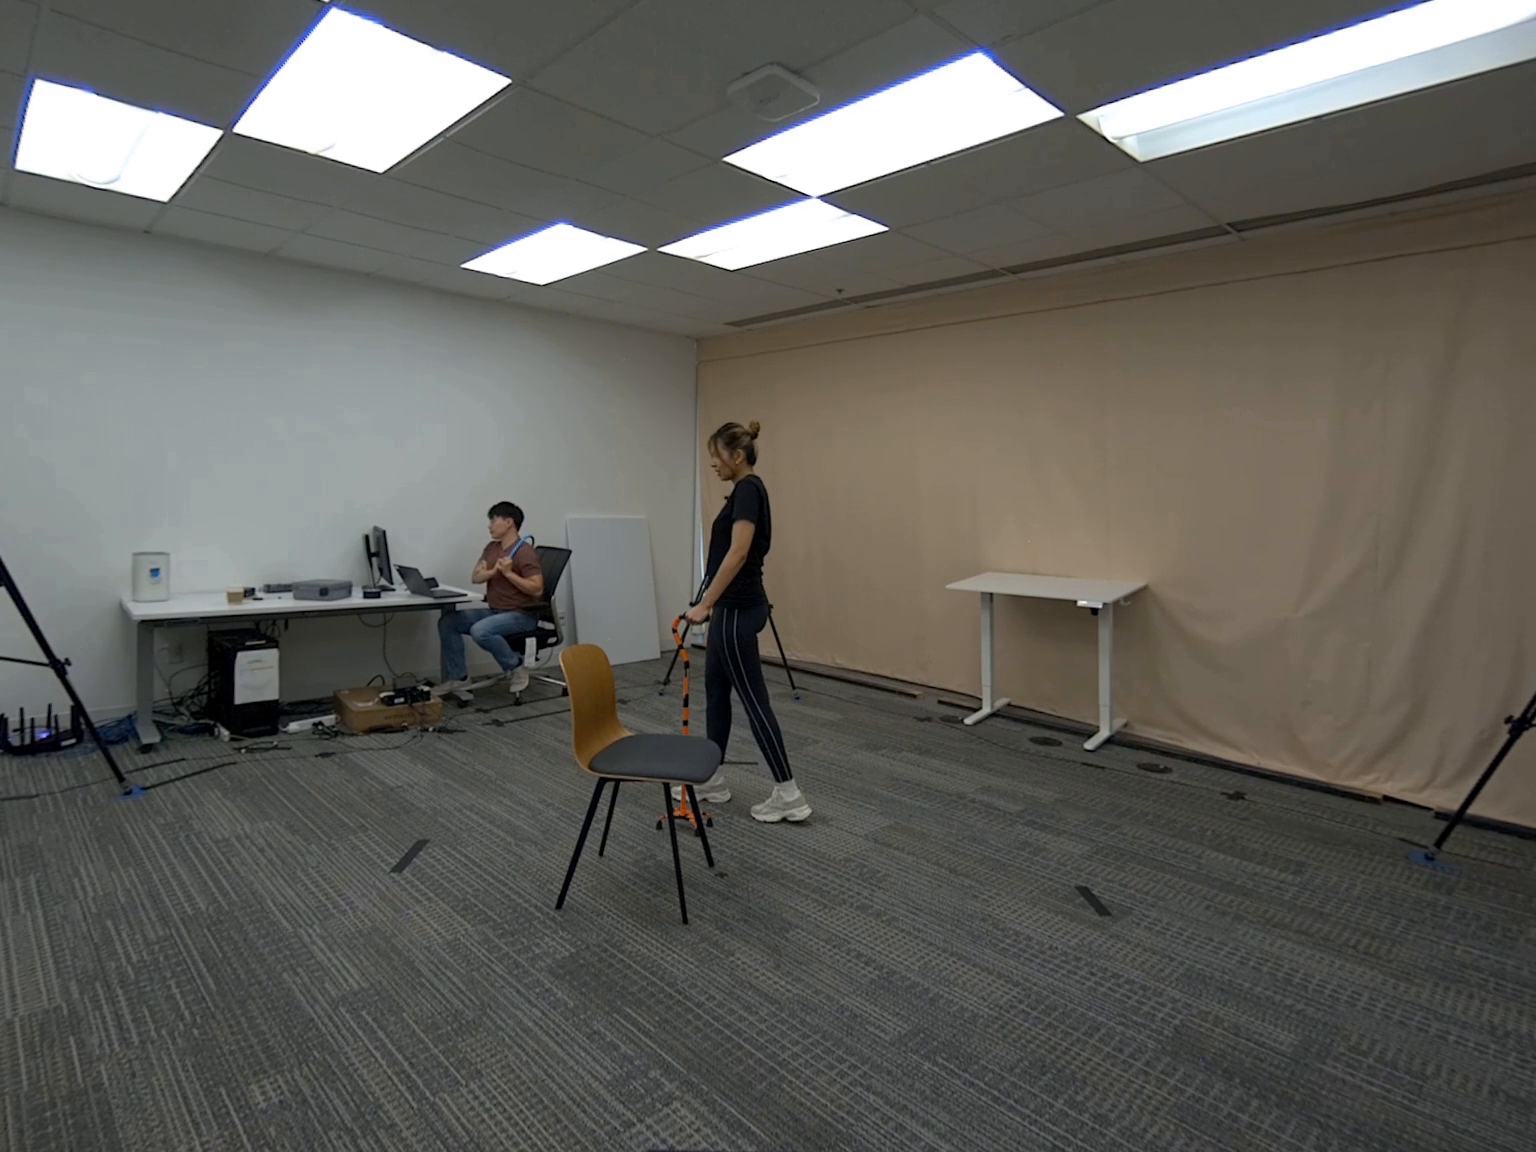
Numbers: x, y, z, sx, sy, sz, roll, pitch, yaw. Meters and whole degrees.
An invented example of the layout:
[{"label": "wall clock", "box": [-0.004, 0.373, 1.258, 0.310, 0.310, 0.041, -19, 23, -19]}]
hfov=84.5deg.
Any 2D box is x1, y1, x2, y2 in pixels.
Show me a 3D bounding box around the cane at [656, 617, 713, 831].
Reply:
[{"label": "cane", "box": [-0.351, 0.608, 3.526, 0.210, 0.906, 0.149, 3, 3, 21]}]
